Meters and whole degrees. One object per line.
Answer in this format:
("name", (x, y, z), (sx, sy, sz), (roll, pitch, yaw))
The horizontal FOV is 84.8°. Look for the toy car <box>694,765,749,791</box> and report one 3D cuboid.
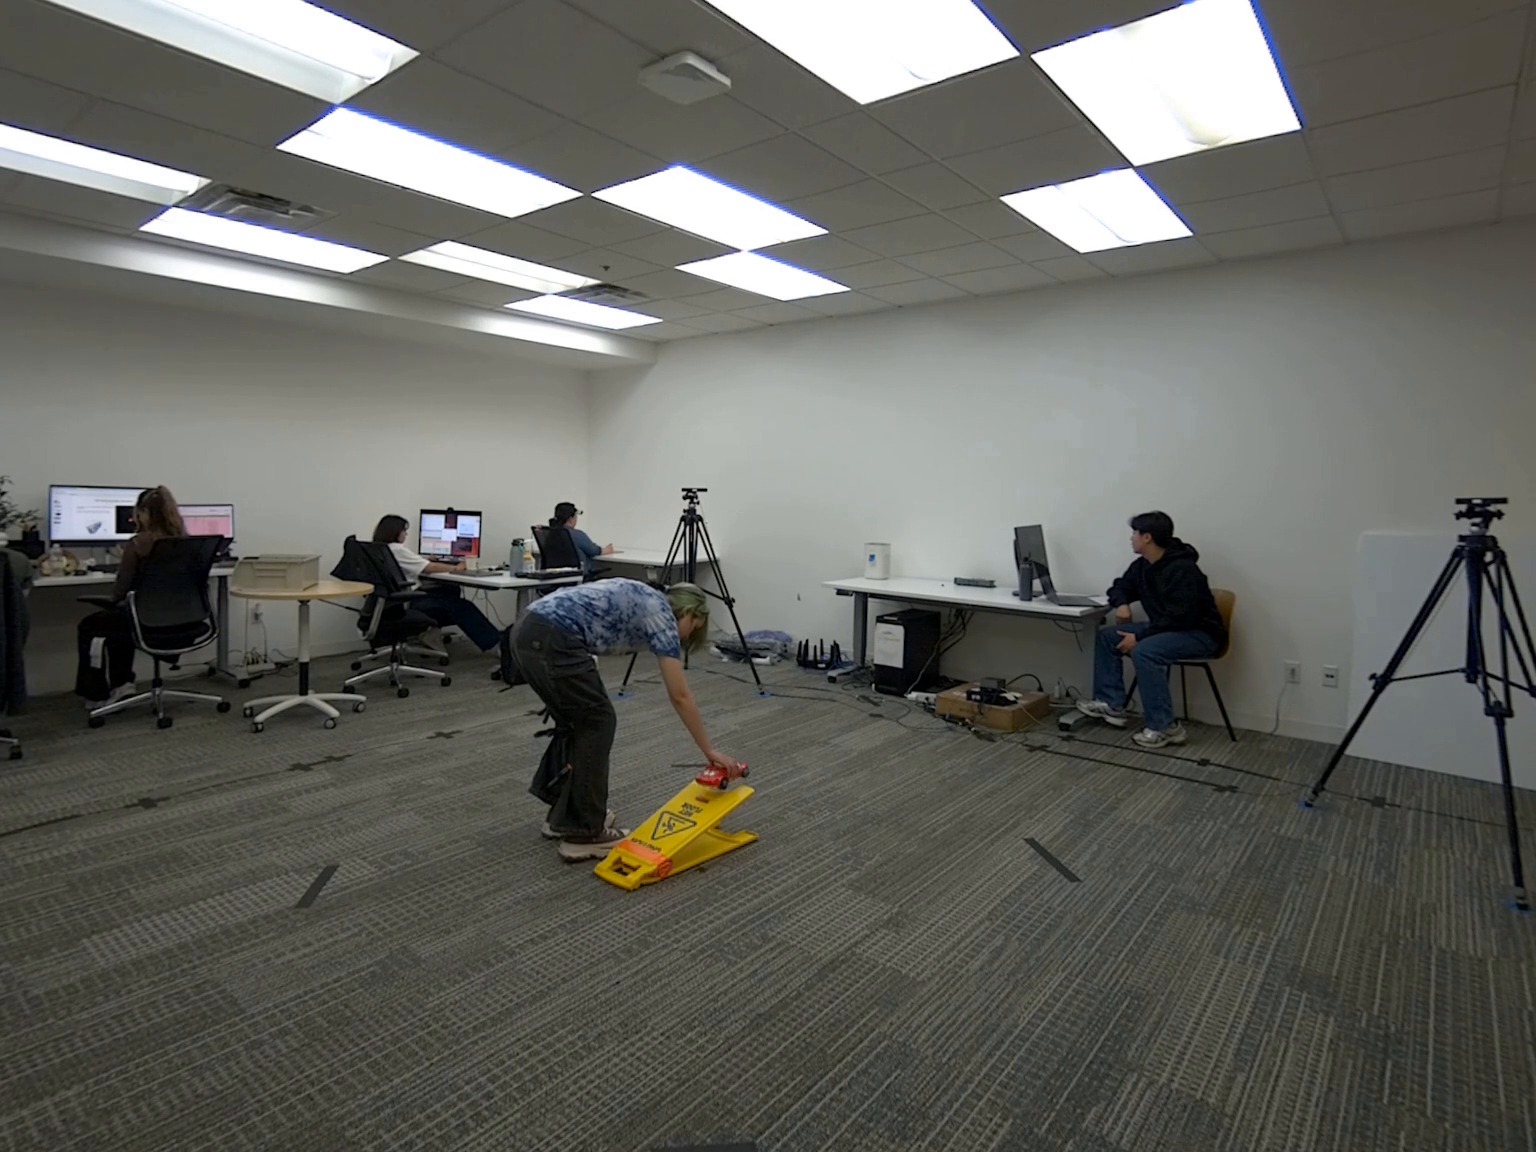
("toy car", (-0.207, 0.801, 3.390), (0.134, 0.083, 0.246), (-1, -4, 36))
